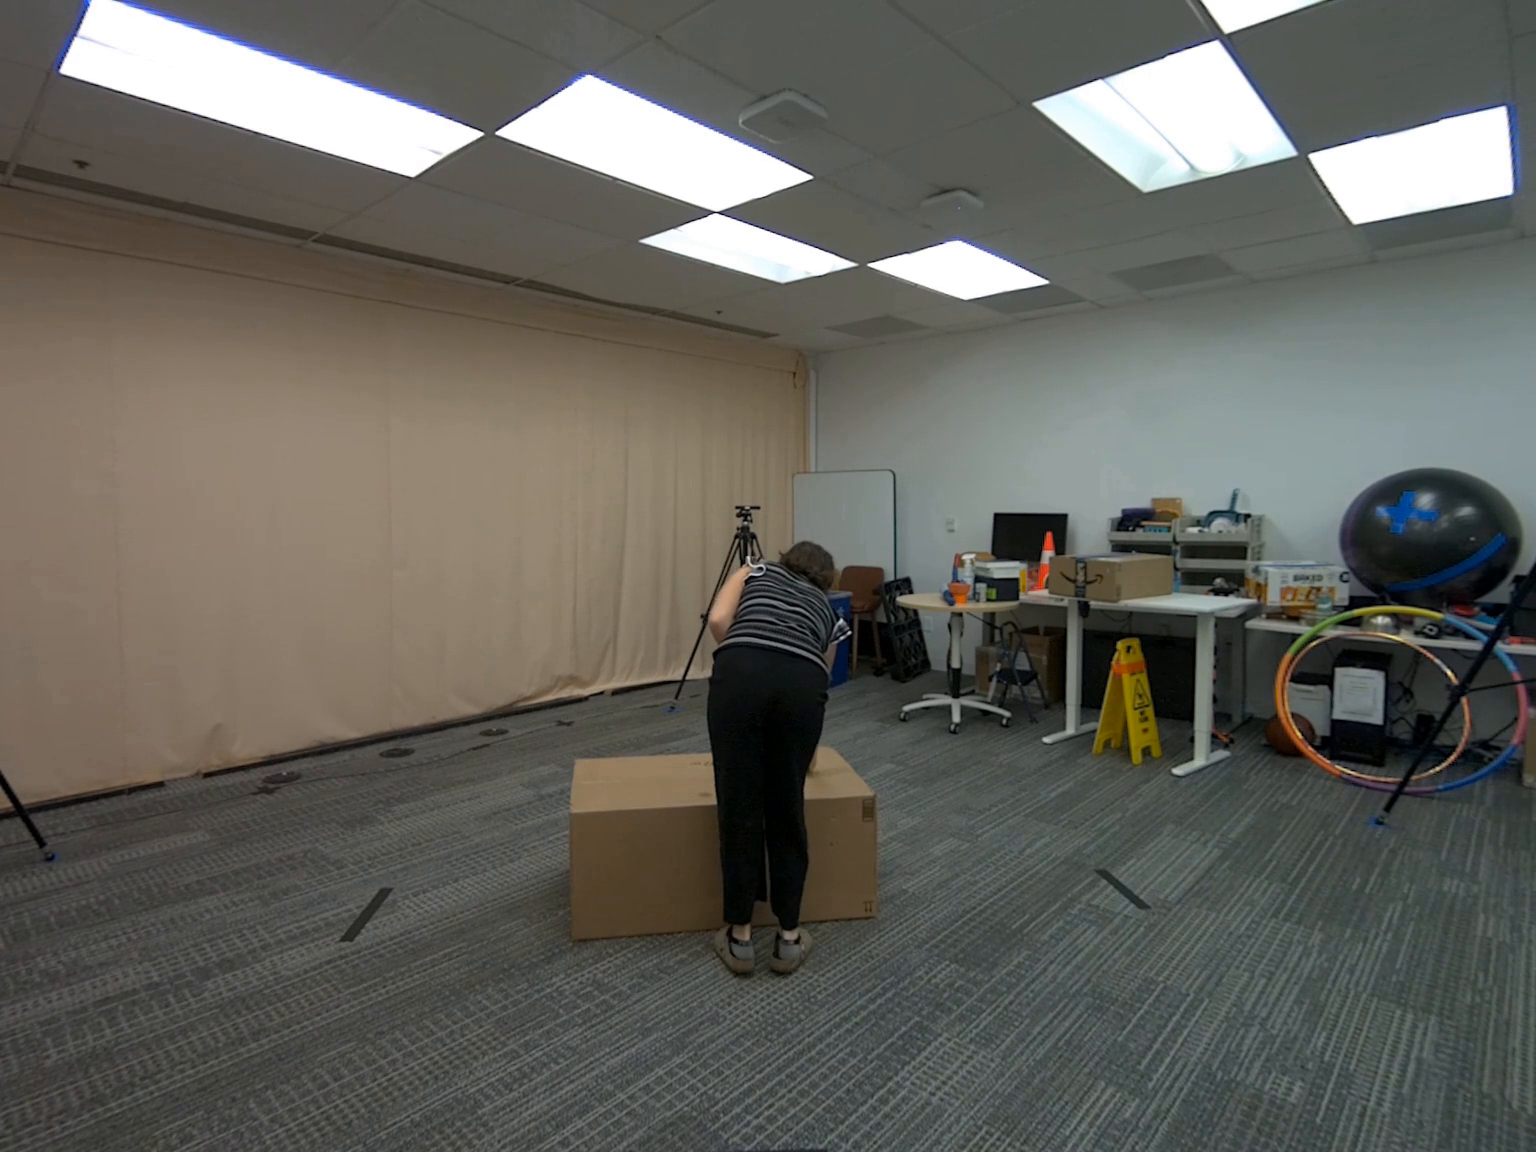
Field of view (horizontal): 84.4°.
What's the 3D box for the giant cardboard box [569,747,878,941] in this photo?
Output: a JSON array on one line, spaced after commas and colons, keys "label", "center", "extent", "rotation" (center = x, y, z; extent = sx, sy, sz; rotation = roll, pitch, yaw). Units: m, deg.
[{"label": "giant cardboard box", "center": [-0.189, 0.930, 3.041], "extent": [1.017, 0.425, 0.584], "rotation": [-1, 5, -9]}]
